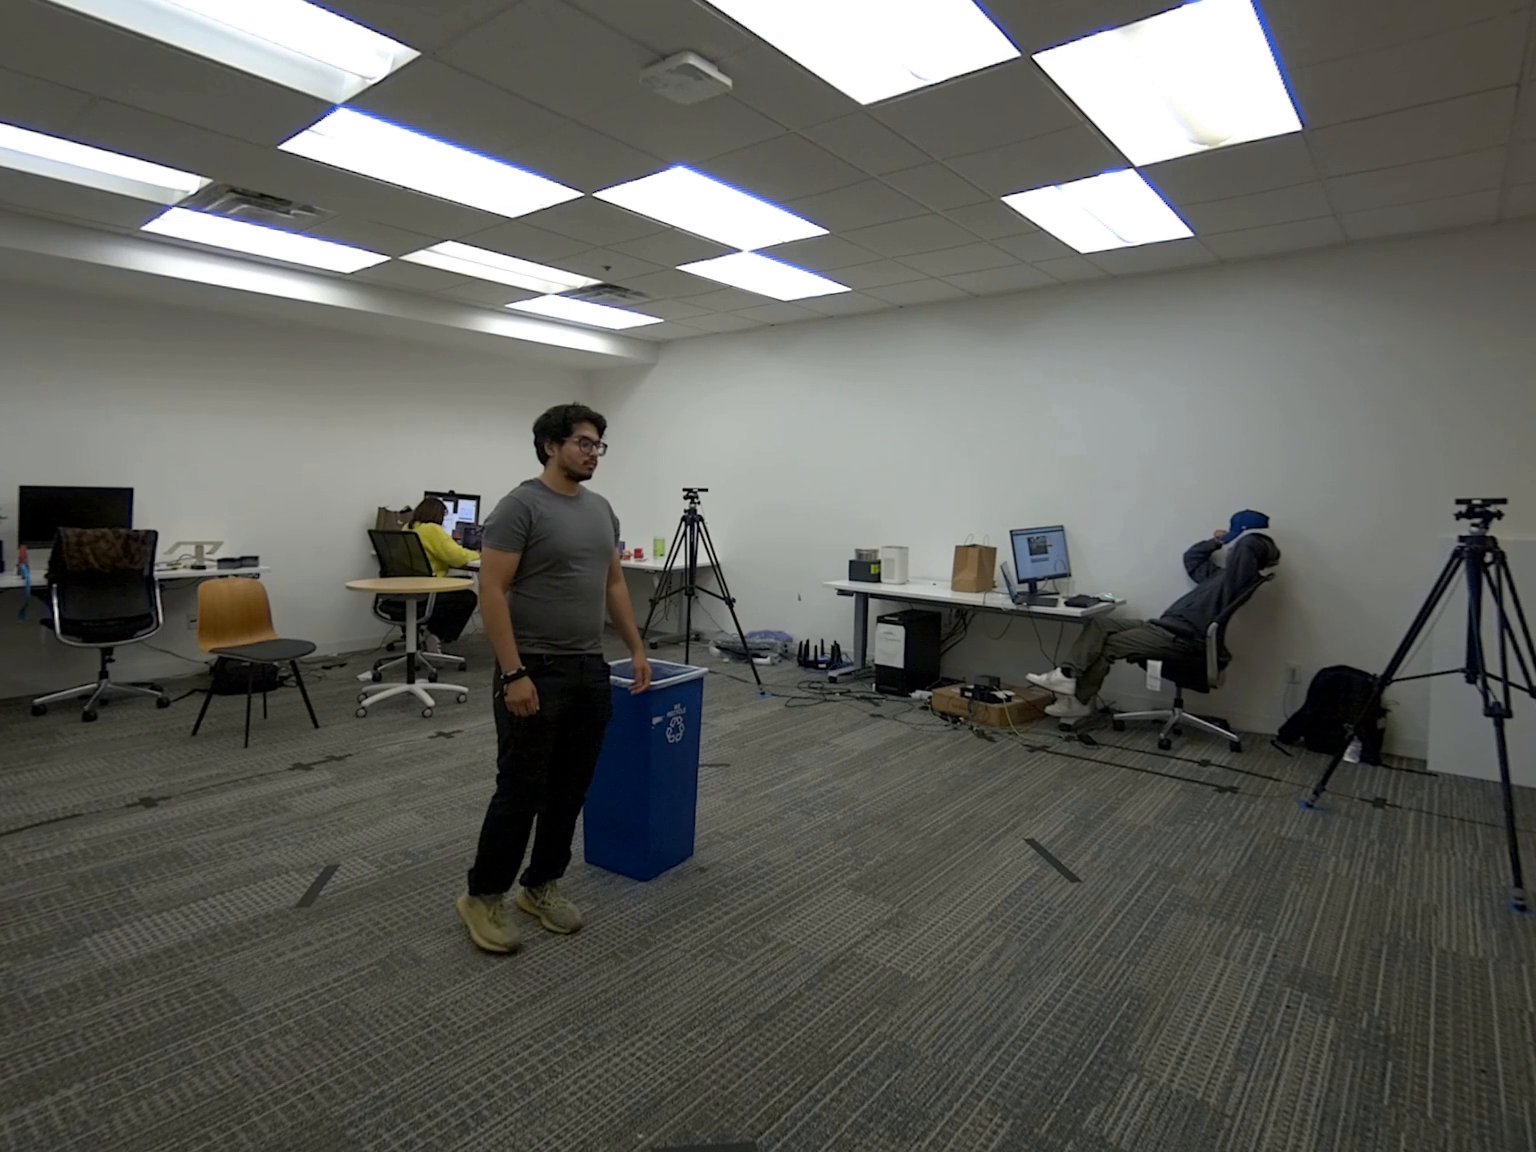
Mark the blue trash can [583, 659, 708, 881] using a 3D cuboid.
[{"bbox_3d":[-0.481,0.700,3.190,0.390,0.711,0.364,3,4,32],"label":"blue trash can"}]
